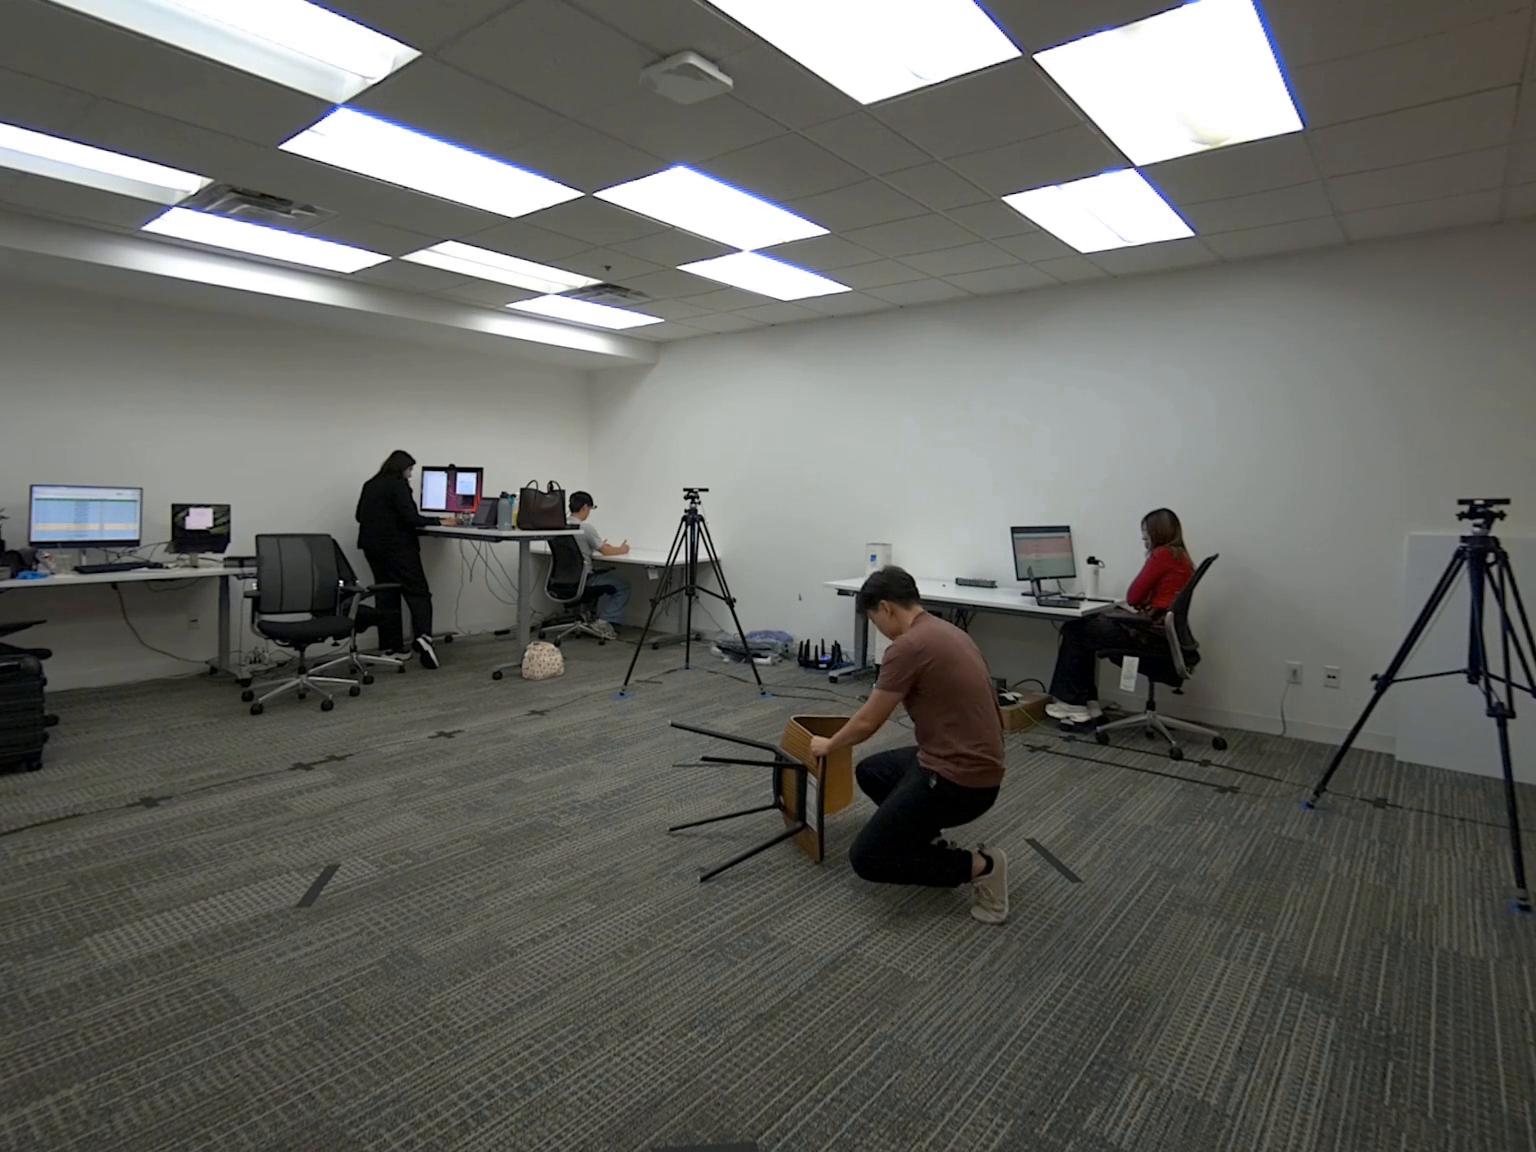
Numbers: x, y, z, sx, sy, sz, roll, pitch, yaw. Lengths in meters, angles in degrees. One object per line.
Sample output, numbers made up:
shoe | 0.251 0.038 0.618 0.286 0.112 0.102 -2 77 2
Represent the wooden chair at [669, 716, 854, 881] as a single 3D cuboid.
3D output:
wooden chair | 0.074 0.822 3.313 0.858 0.476 0.537 -1 6 -24
